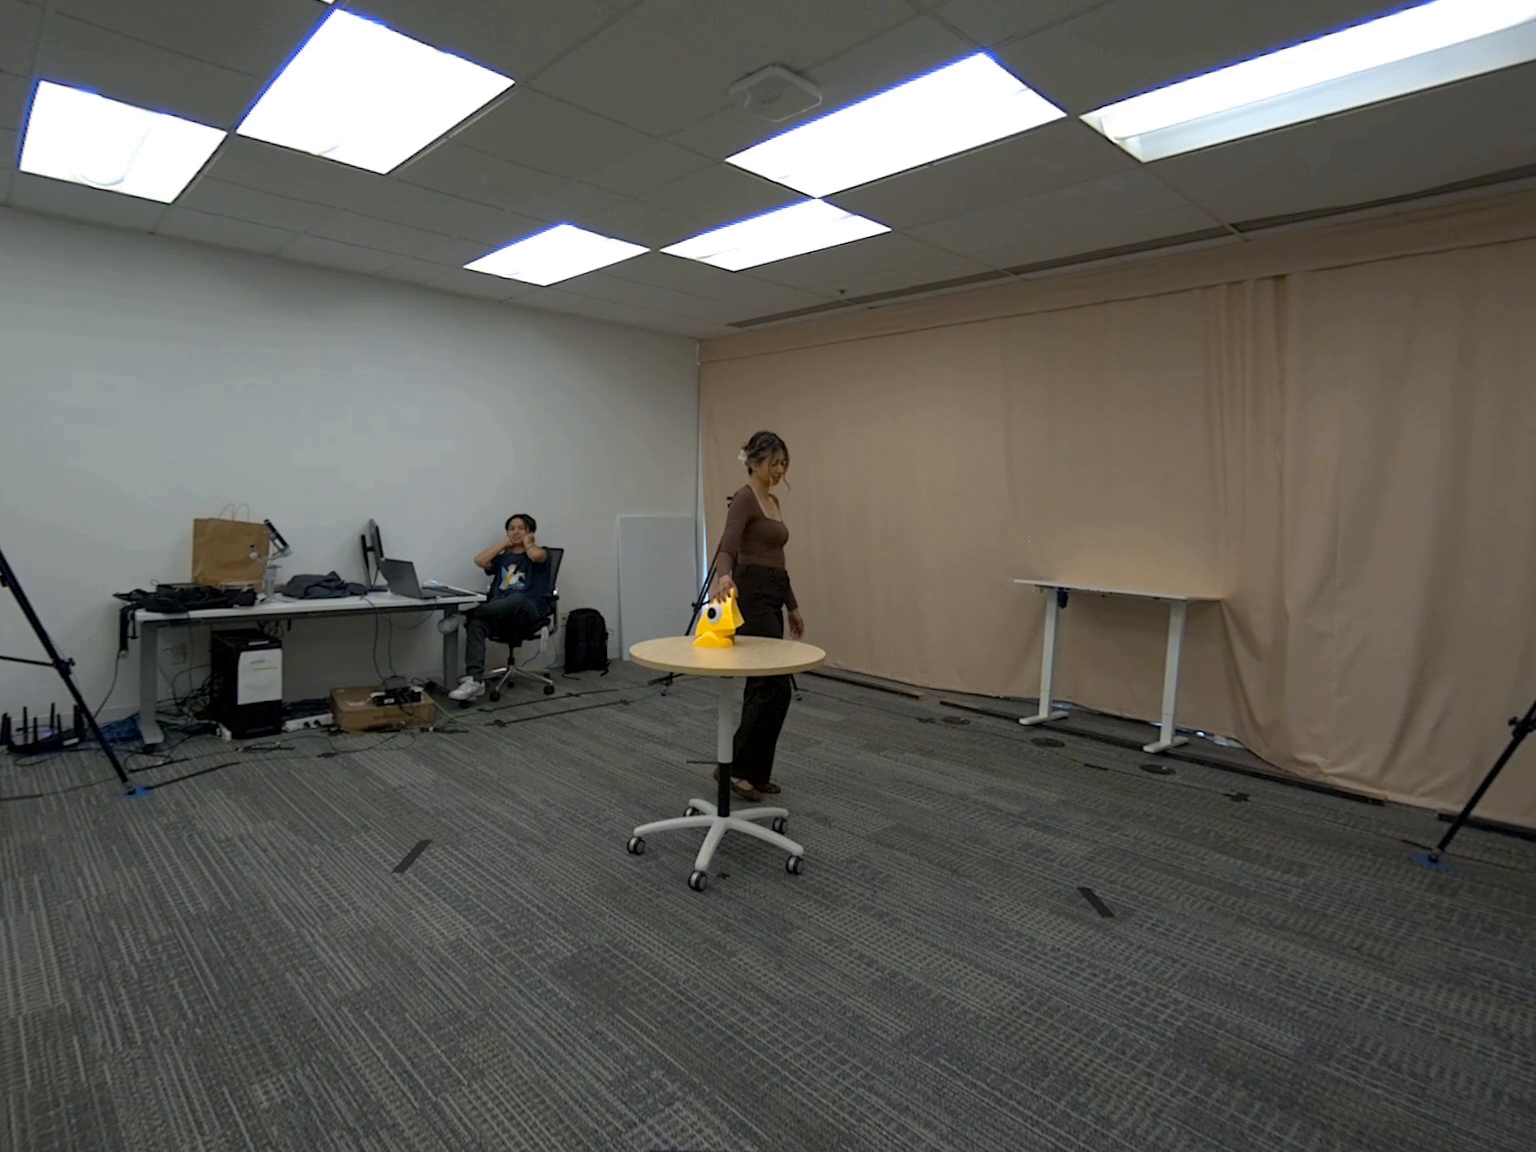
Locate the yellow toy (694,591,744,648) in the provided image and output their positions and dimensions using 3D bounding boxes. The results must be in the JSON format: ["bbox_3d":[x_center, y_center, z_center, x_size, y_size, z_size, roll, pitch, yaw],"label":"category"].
[{"bbox_3d":[-0.214,0.163,3.455,0.195,0.230,0.203,3,3,10],"label":"yellow toy"}]
